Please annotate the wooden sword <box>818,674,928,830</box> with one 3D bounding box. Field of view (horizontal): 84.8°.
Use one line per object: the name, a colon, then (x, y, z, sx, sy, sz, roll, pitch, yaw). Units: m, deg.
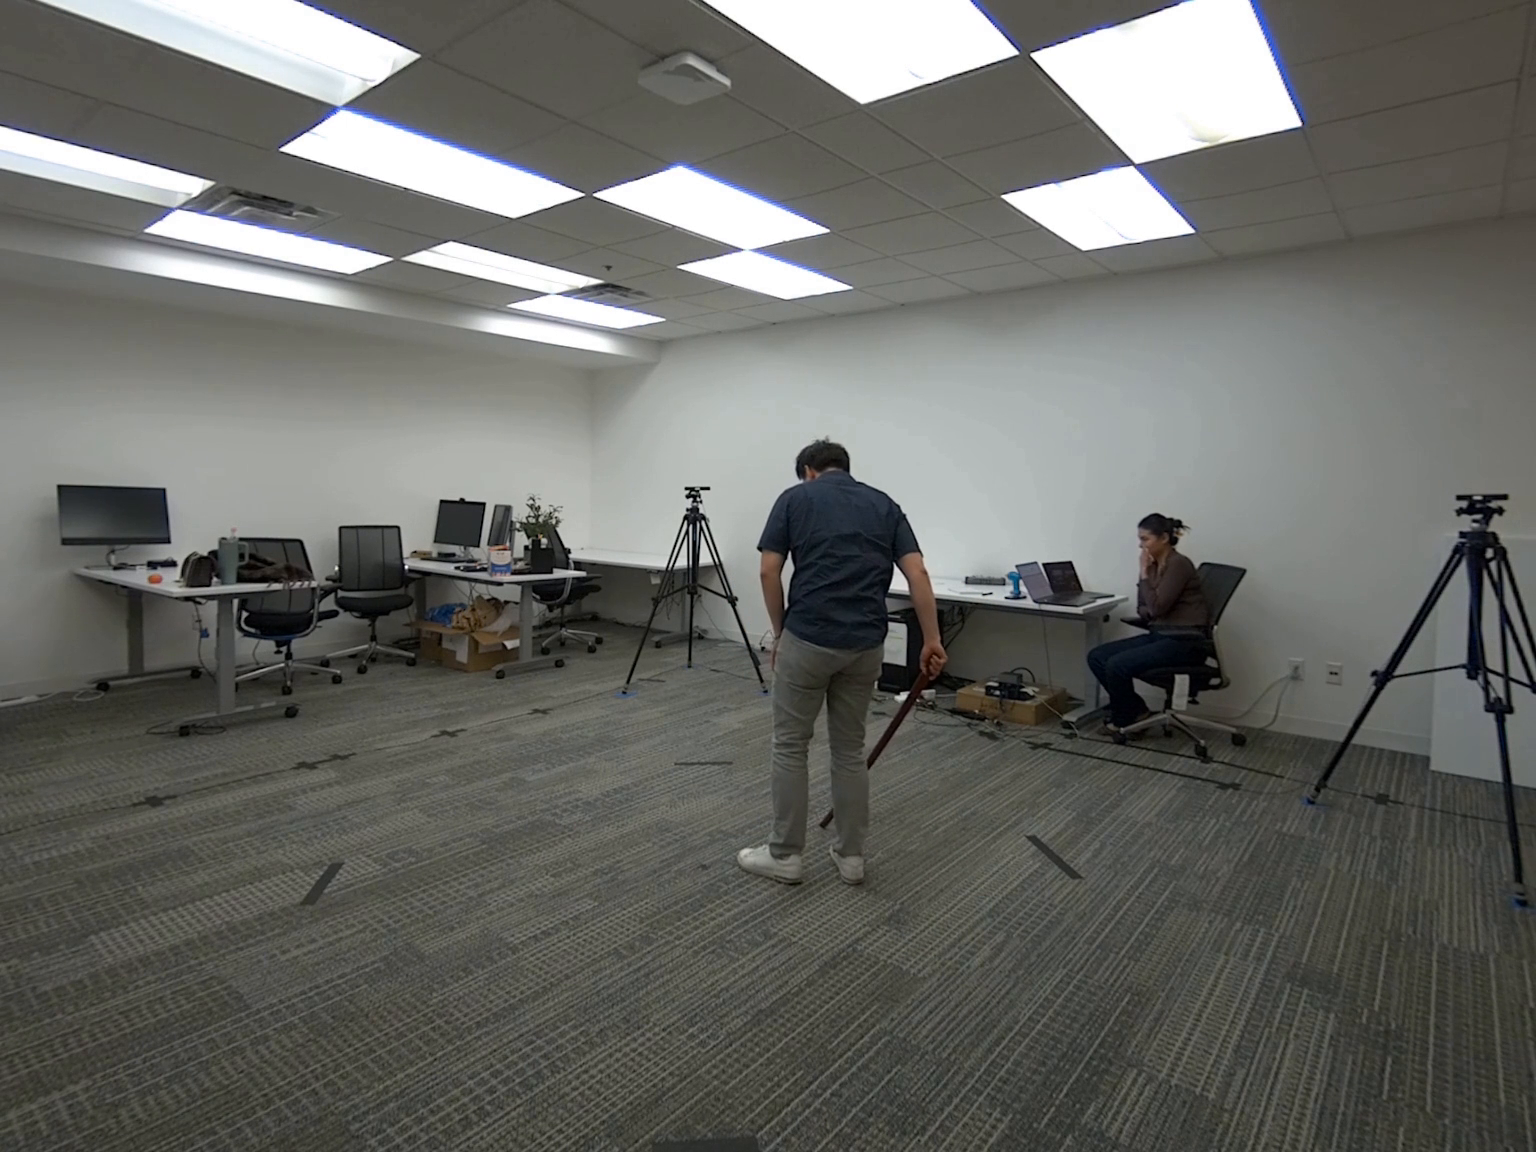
wooden sword: (0.385, 0.667, 3.243, 0.051, 1.012, 0.024, 28, 34, 3)
